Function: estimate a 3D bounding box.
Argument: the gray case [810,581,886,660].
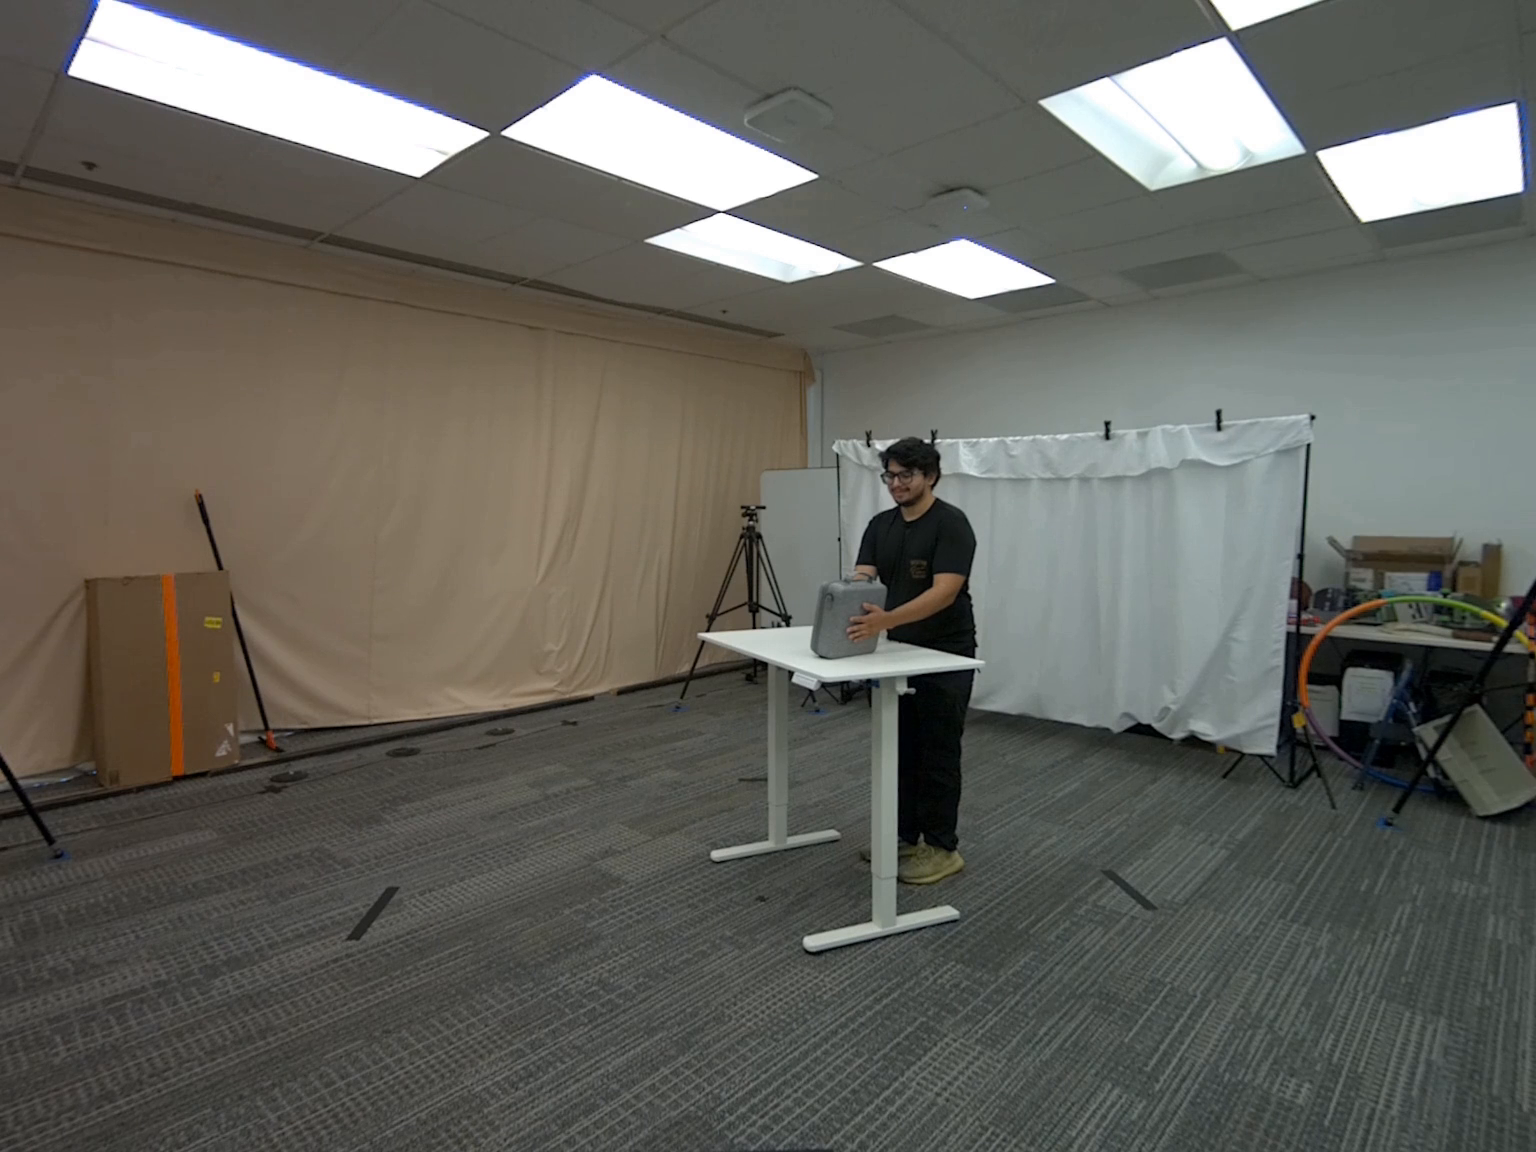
[{"bbox_3d":[0.280,0.142,2.831,0.249,0.259,0.108,-1,16,-39],"label":"gray case"}]
